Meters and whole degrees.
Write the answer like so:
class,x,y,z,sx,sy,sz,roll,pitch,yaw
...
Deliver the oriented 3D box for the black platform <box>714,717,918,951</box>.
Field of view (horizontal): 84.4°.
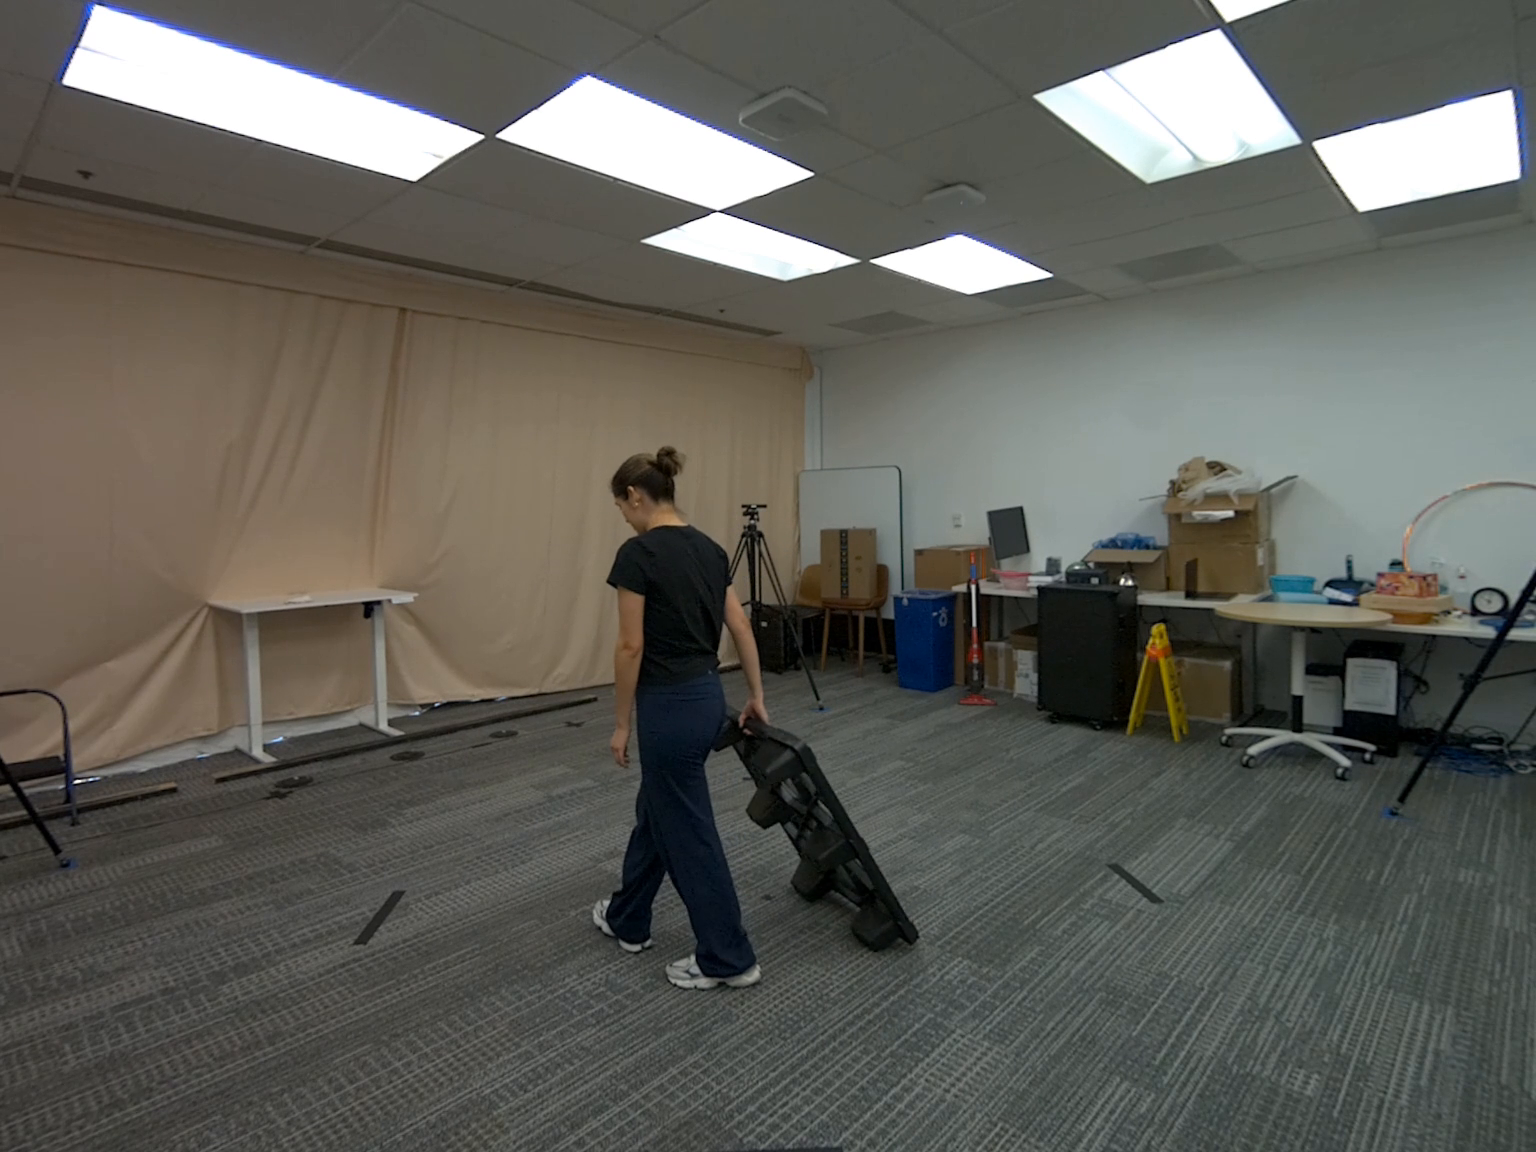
class,x,y,z,sx,sy,sz,roll,pitch,yaw
black platform,0.111,0.807,2.749,0.142,0.792,0.622,-36,18,-22
